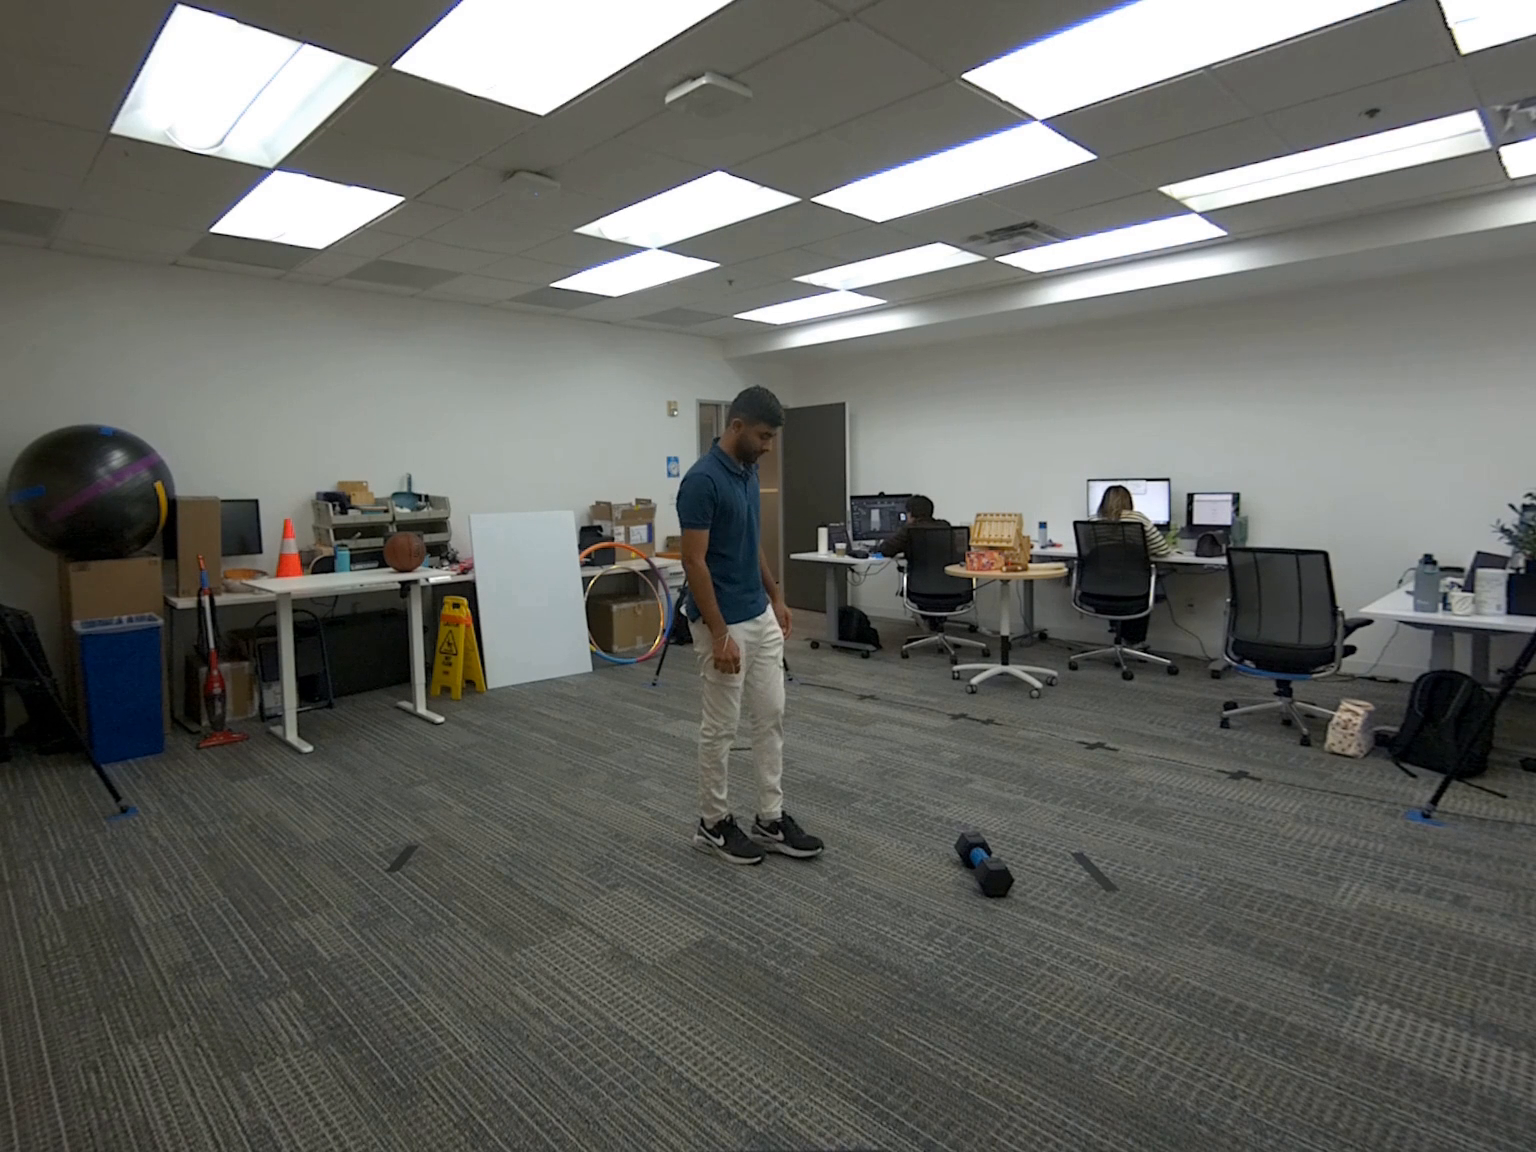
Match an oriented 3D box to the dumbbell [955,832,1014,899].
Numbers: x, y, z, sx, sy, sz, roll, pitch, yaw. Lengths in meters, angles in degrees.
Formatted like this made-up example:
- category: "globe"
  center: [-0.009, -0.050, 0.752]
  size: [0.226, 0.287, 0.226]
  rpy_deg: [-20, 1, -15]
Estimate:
- category: "dumbbell"
  center: [0.754, 0.996, 2.954]
  size: [0.109, 0.122, 0.295]
  rpy_deg: [-32, 6, 2]
